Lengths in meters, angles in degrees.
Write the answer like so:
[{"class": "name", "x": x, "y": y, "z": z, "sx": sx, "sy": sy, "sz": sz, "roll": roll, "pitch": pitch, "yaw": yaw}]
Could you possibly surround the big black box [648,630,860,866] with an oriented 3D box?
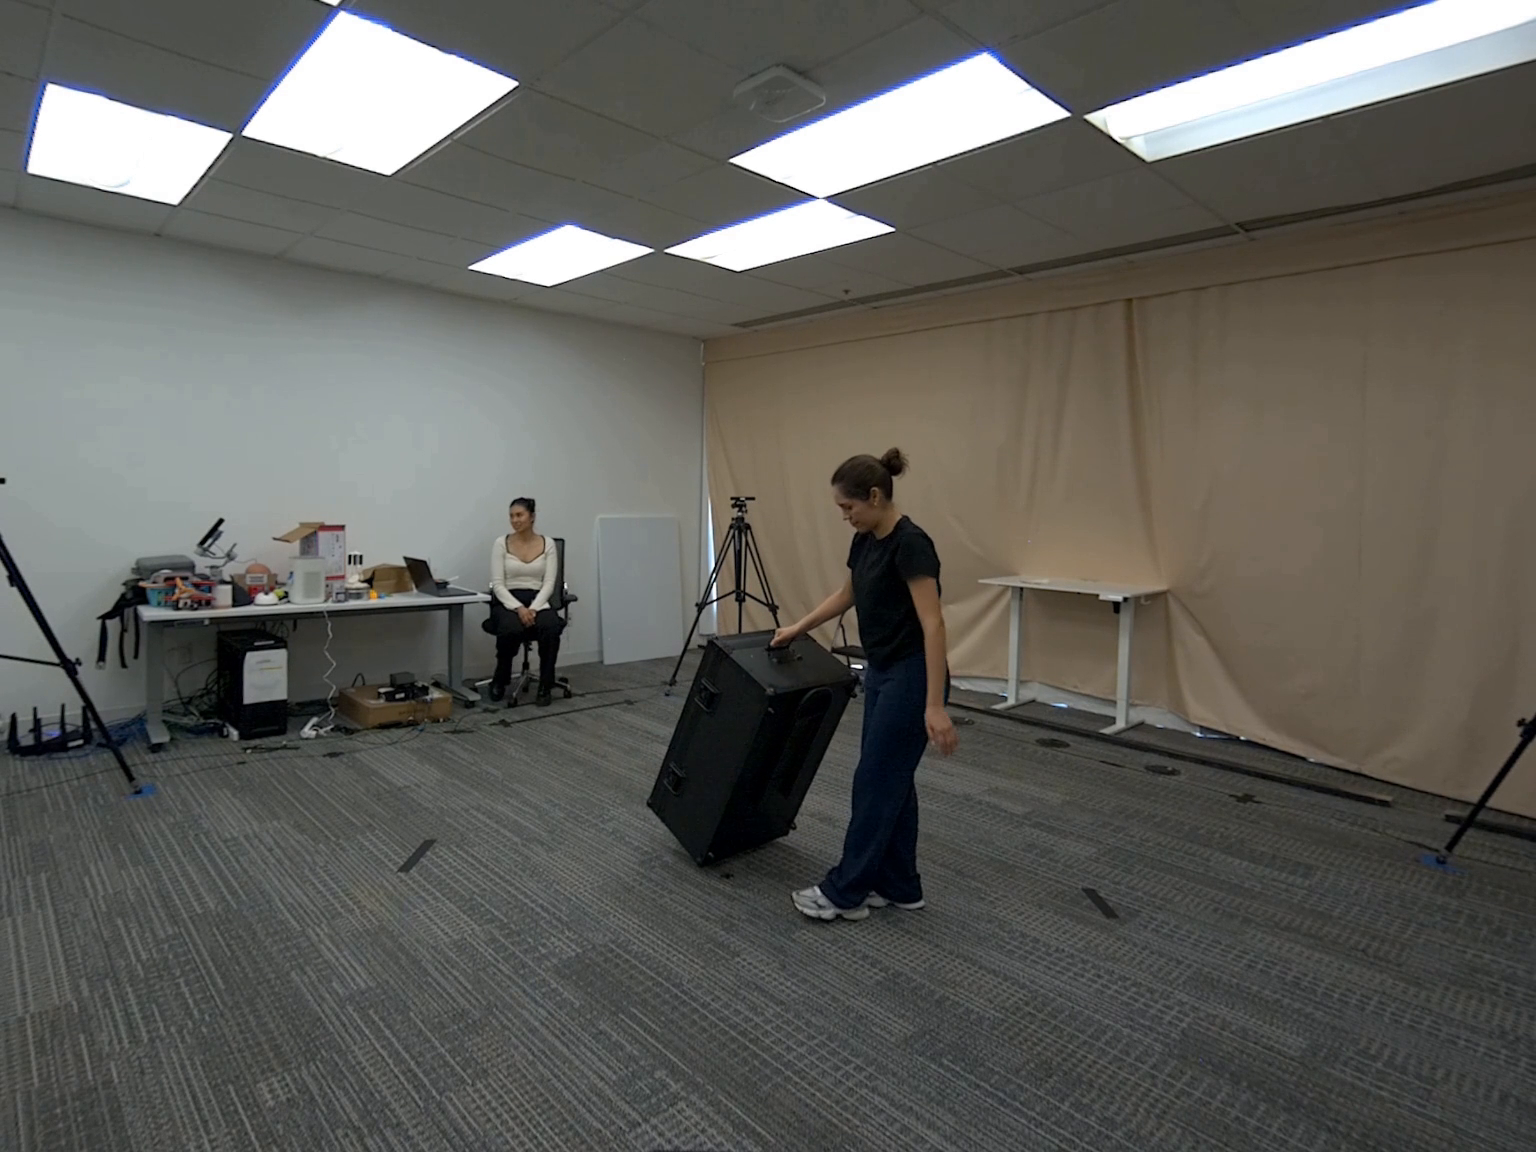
[{"class": "big black box", "x": -0.087, "y": 0.659, "z": 3.213, "sx": 0.509, "sy": 0.854, "sz": 0.409, "roll": -3, "pitch": 31, "yaw": -46}]
